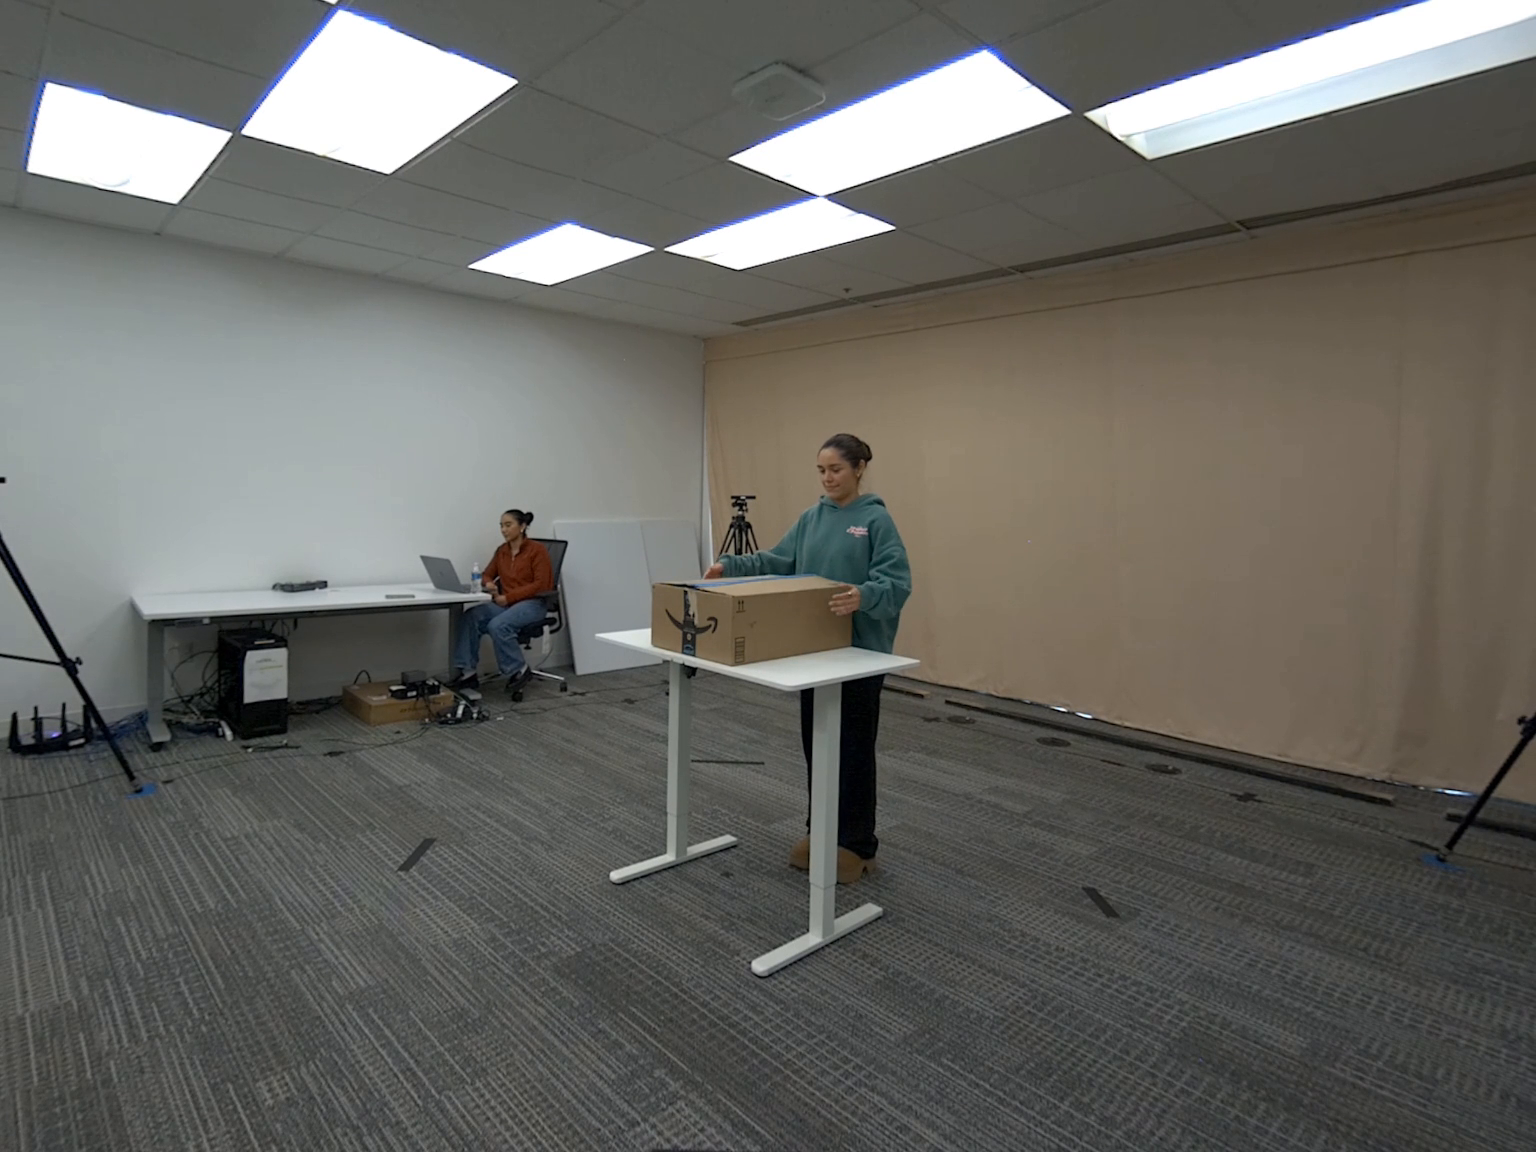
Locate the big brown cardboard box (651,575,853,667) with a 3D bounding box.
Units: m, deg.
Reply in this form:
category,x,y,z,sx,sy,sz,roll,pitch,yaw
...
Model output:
category,x,y,z,sx,sy,sz,roll,pitch,yaw
big brown cardboard box,-0.056,0.133,2.878,0.576,0.232,0.428,-5,8,-44
